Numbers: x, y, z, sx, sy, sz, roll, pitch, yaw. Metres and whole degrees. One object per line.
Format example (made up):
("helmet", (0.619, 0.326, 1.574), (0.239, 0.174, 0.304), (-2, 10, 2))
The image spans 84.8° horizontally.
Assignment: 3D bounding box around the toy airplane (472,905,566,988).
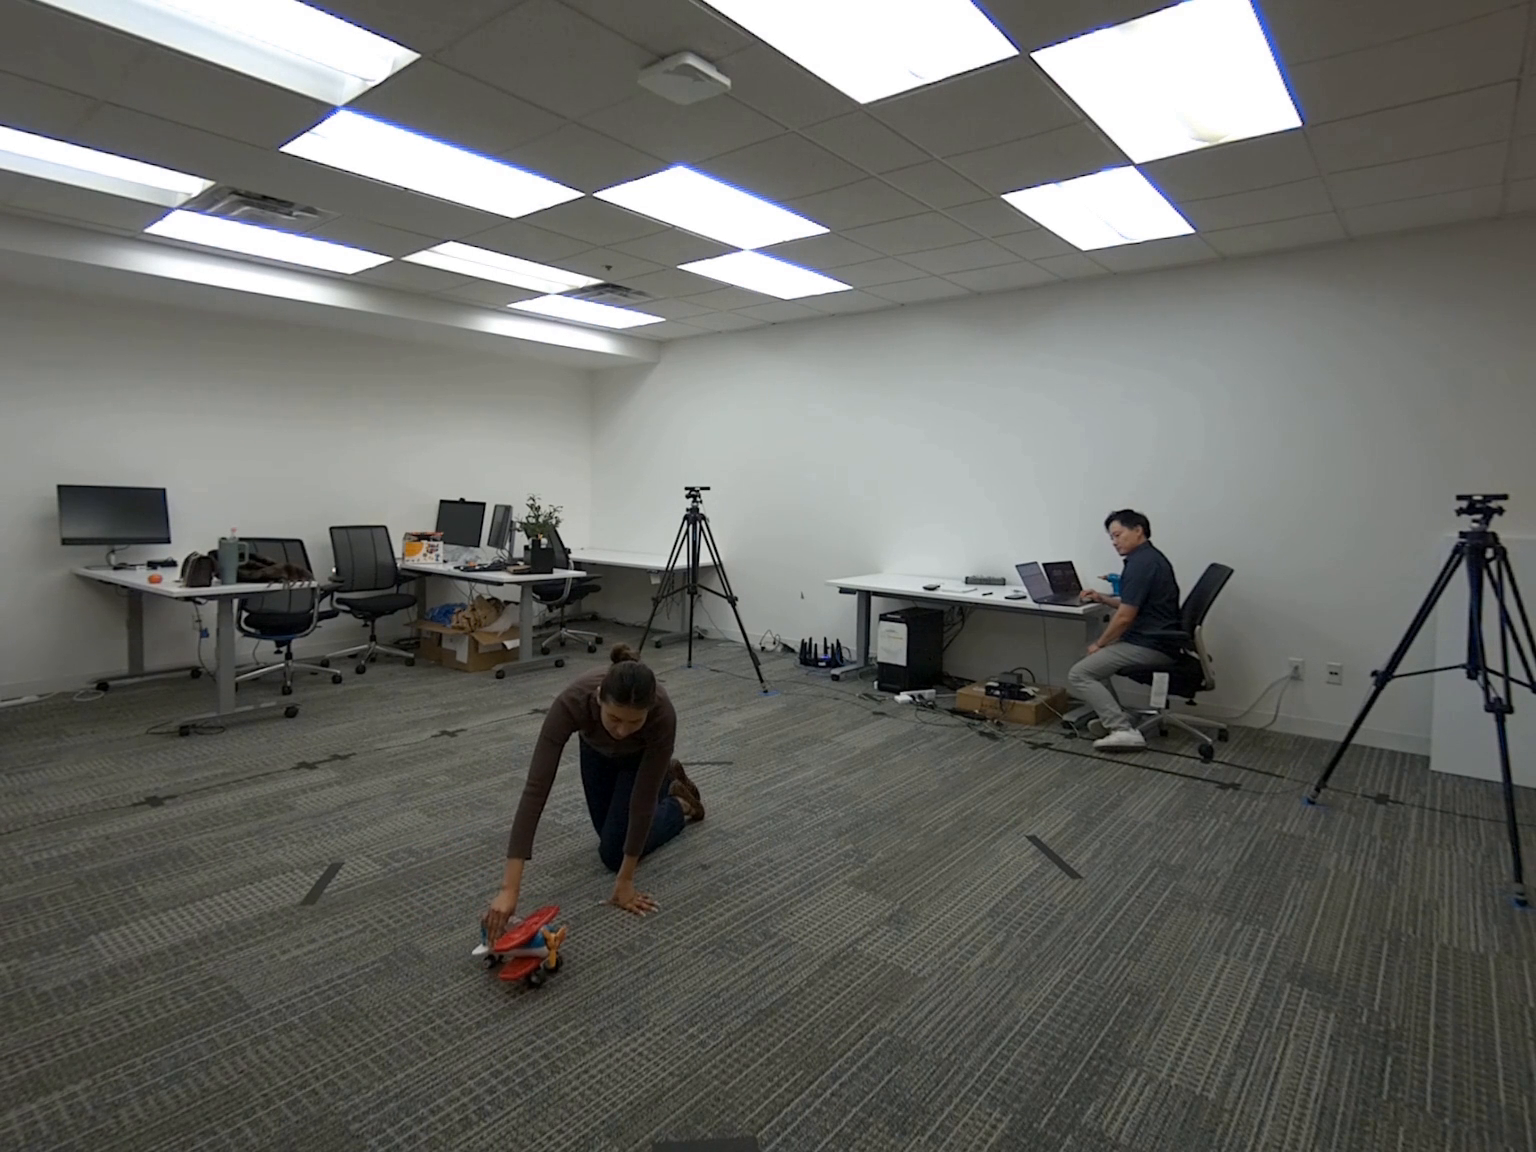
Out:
("toy airplane", (-0.725, 1.056, 2.408), (0.258, 0.156, 0.253), (1, 4, -6))
